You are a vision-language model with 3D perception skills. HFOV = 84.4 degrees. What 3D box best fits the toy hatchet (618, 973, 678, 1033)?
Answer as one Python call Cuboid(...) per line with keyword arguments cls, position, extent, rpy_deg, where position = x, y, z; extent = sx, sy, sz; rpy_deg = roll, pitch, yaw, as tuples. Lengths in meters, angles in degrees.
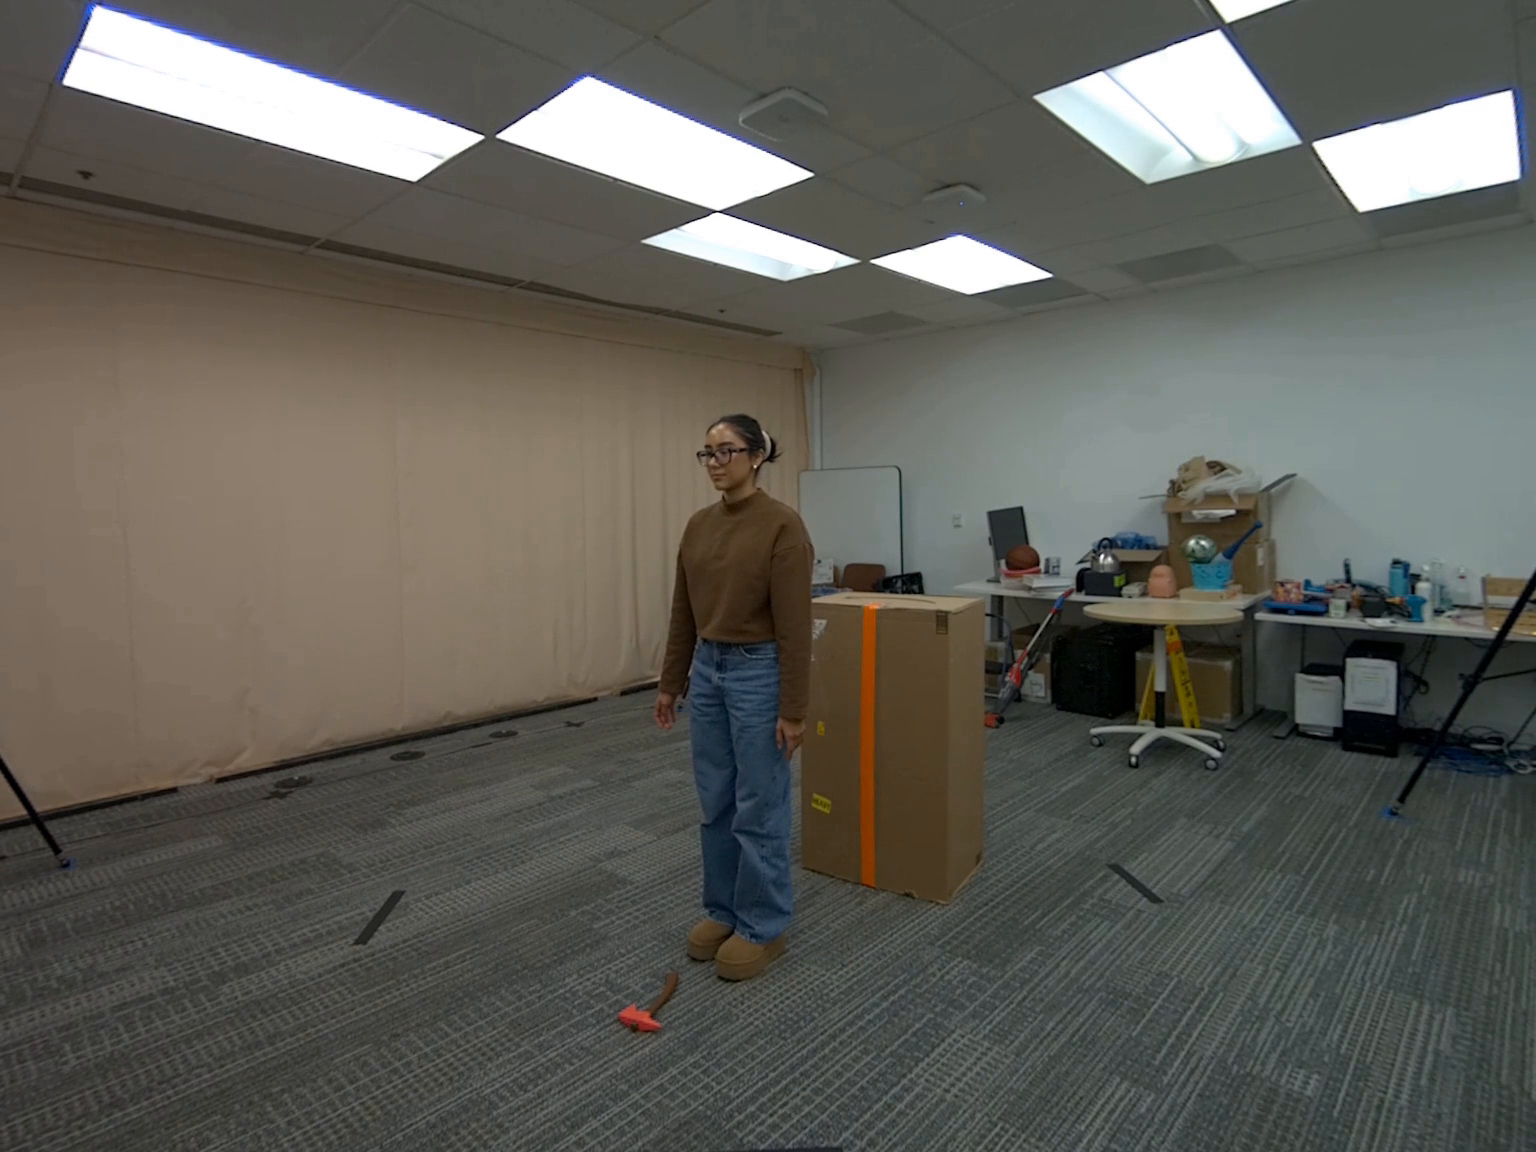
Cuboid(cls="toy hatchet", position=(-0.337, 1.195, 2.350), extent=(0.132, 0.029, 0.268), rpy_deg=(-4, 2, 8))
